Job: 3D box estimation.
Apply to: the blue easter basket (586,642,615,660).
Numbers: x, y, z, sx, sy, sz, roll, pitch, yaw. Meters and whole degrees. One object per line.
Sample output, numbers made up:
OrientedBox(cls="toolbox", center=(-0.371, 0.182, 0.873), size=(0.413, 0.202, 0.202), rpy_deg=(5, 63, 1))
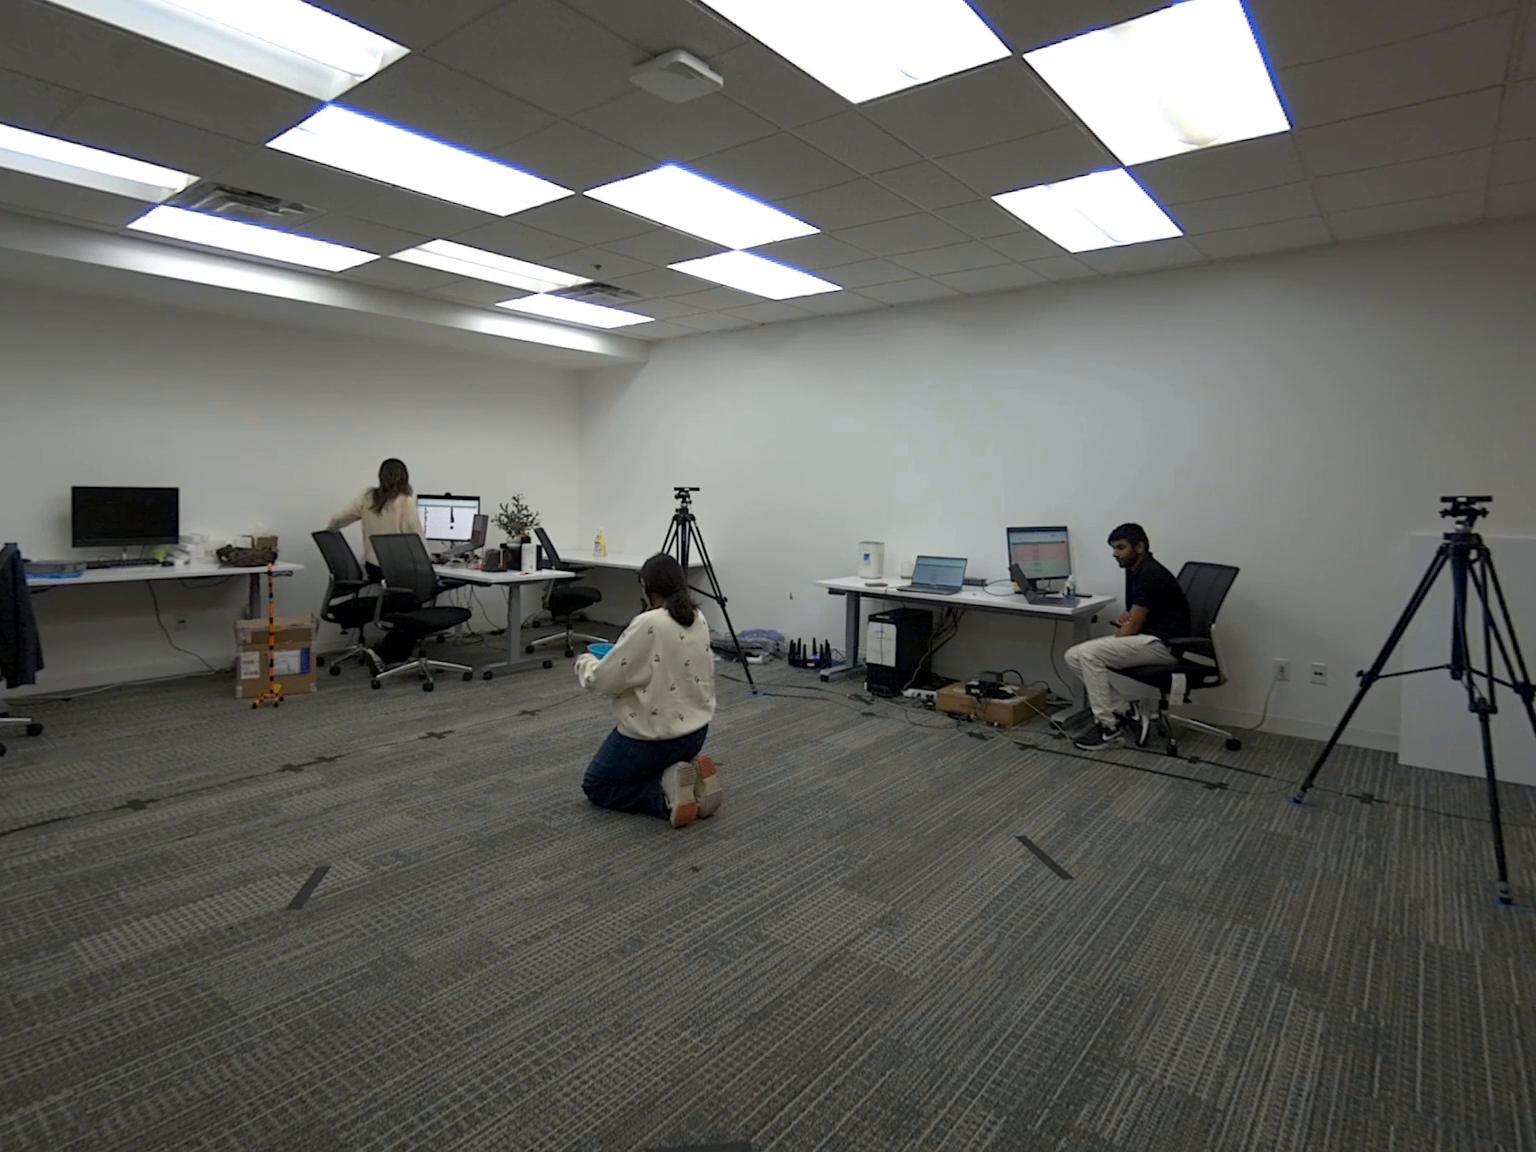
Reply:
OrientedBox(cls="blue easter basket", center=(-0.743, 0.418, 4.044), size=(0.243, 0.155, 0.245), rpy_deg=(8, 4, -2))
